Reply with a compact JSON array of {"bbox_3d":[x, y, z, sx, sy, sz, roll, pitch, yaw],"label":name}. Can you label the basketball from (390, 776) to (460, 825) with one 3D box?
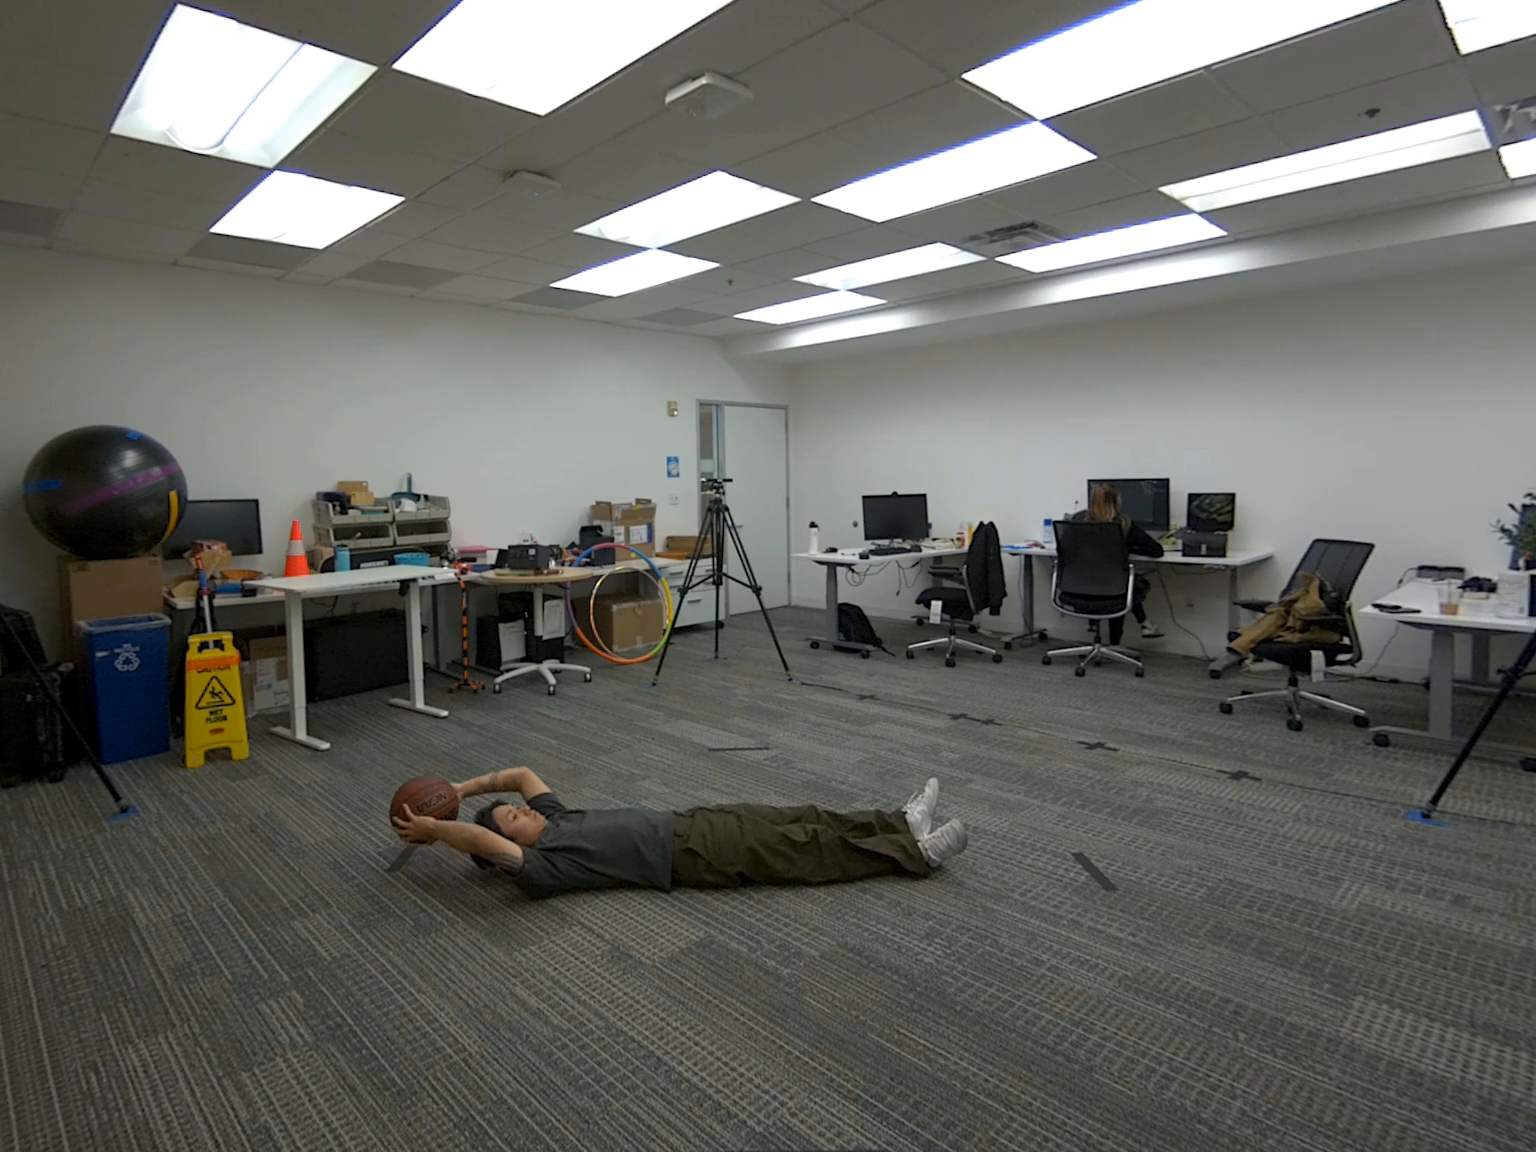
[{"bbox_3d":[-1.230,0.834,3.077,0.236,0.235,0.237,-1,5,-2],"label":"basketball"}]
